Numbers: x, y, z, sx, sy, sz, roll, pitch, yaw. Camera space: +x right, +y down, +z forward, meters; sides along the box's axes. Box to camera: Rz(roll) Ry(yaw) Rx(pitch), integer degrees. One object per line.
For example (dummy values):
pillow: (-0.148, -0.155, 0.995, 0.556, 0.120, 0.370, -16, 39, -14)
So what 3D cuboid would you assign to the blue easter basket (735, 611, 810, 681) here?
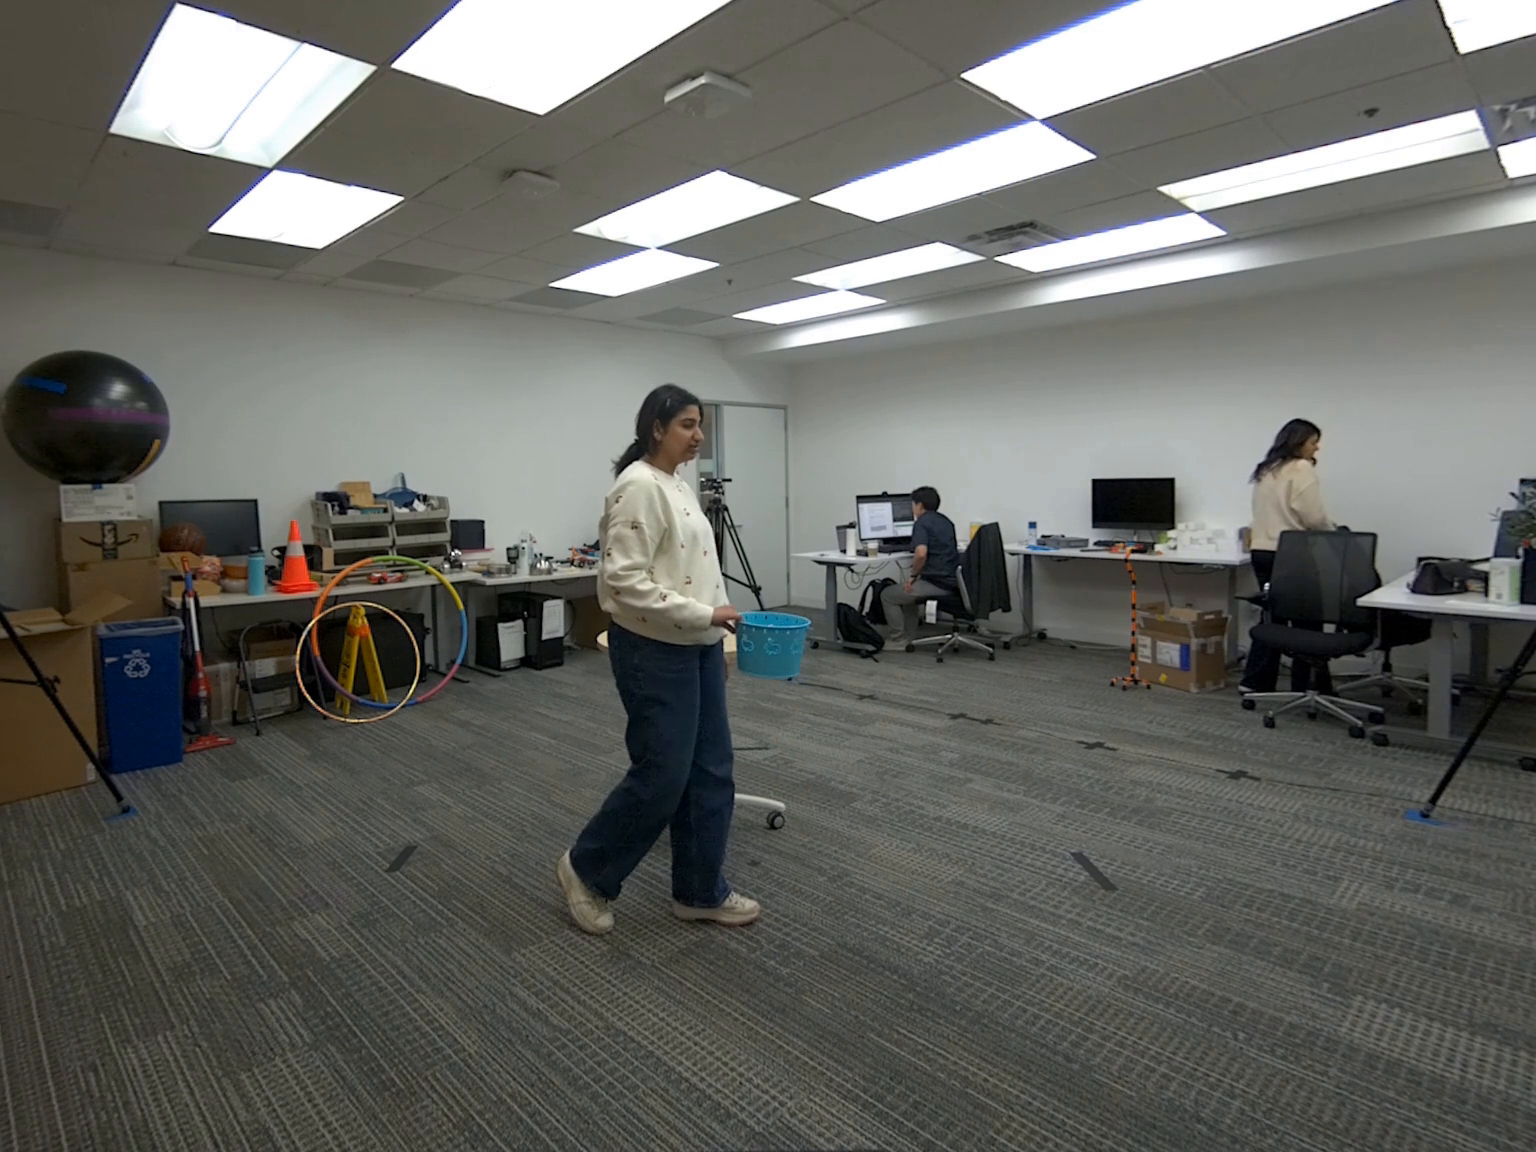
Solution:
blue easter basket: (0.000, 0.203, 2.492, 0.243, 0.155, 0.245, 3, 6, -2)
